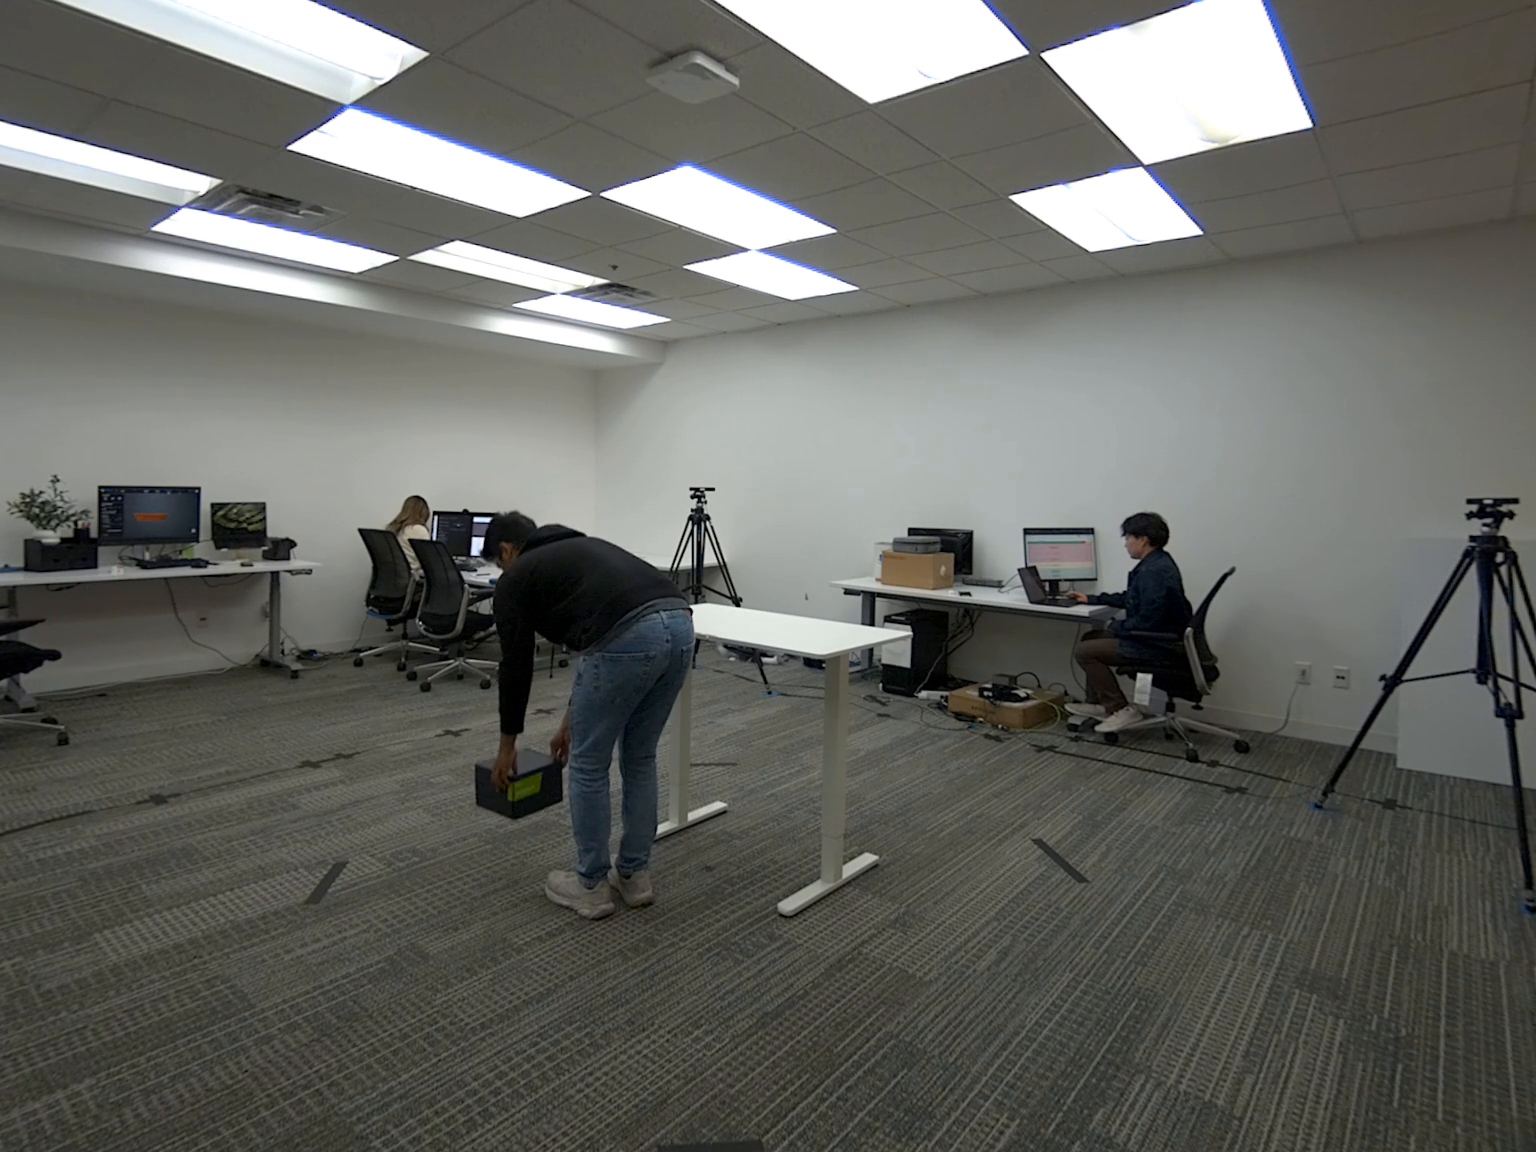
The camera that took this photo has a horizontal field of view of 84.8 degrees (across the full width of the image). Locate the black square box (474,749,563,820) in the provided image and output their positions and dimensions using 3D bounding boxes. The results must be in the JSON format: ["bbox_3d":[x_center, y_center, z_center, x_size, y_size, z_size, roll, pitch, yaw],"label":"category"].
[{"bbox_3d":[-0.909,0.734,3.070,0.224,0.155,0.222,5,8,36],"label":"black square box"}]
